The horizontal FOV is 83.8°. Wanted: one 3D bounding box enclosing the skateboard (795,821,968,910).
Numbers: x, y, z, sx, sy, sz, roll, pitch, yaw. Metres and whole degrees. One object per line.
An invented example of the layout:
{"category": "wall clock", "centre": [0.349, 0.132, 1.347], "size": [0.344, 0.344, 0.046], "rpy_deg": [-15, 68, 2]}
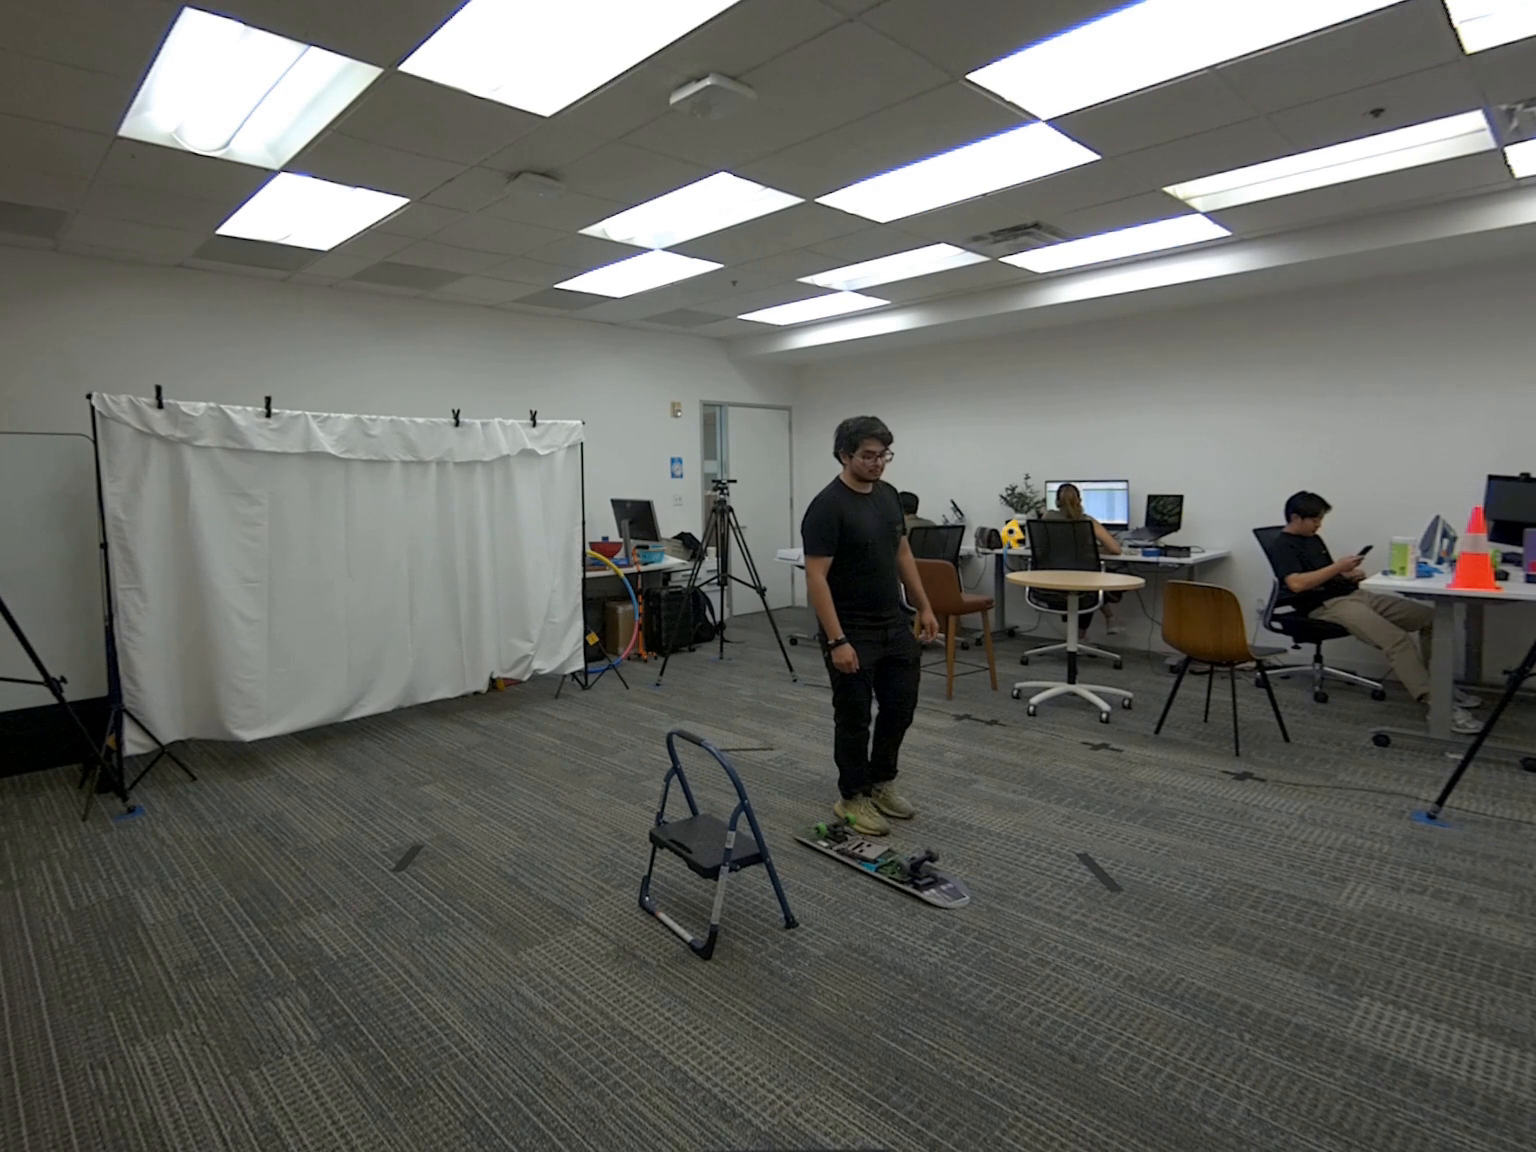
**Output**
{"category": "skateboard", "centre": [0.385, 0.997, 3.081], "size": [0.188, 0.110, 0.809], "rpy_deg": [-5, 7, -38]}
